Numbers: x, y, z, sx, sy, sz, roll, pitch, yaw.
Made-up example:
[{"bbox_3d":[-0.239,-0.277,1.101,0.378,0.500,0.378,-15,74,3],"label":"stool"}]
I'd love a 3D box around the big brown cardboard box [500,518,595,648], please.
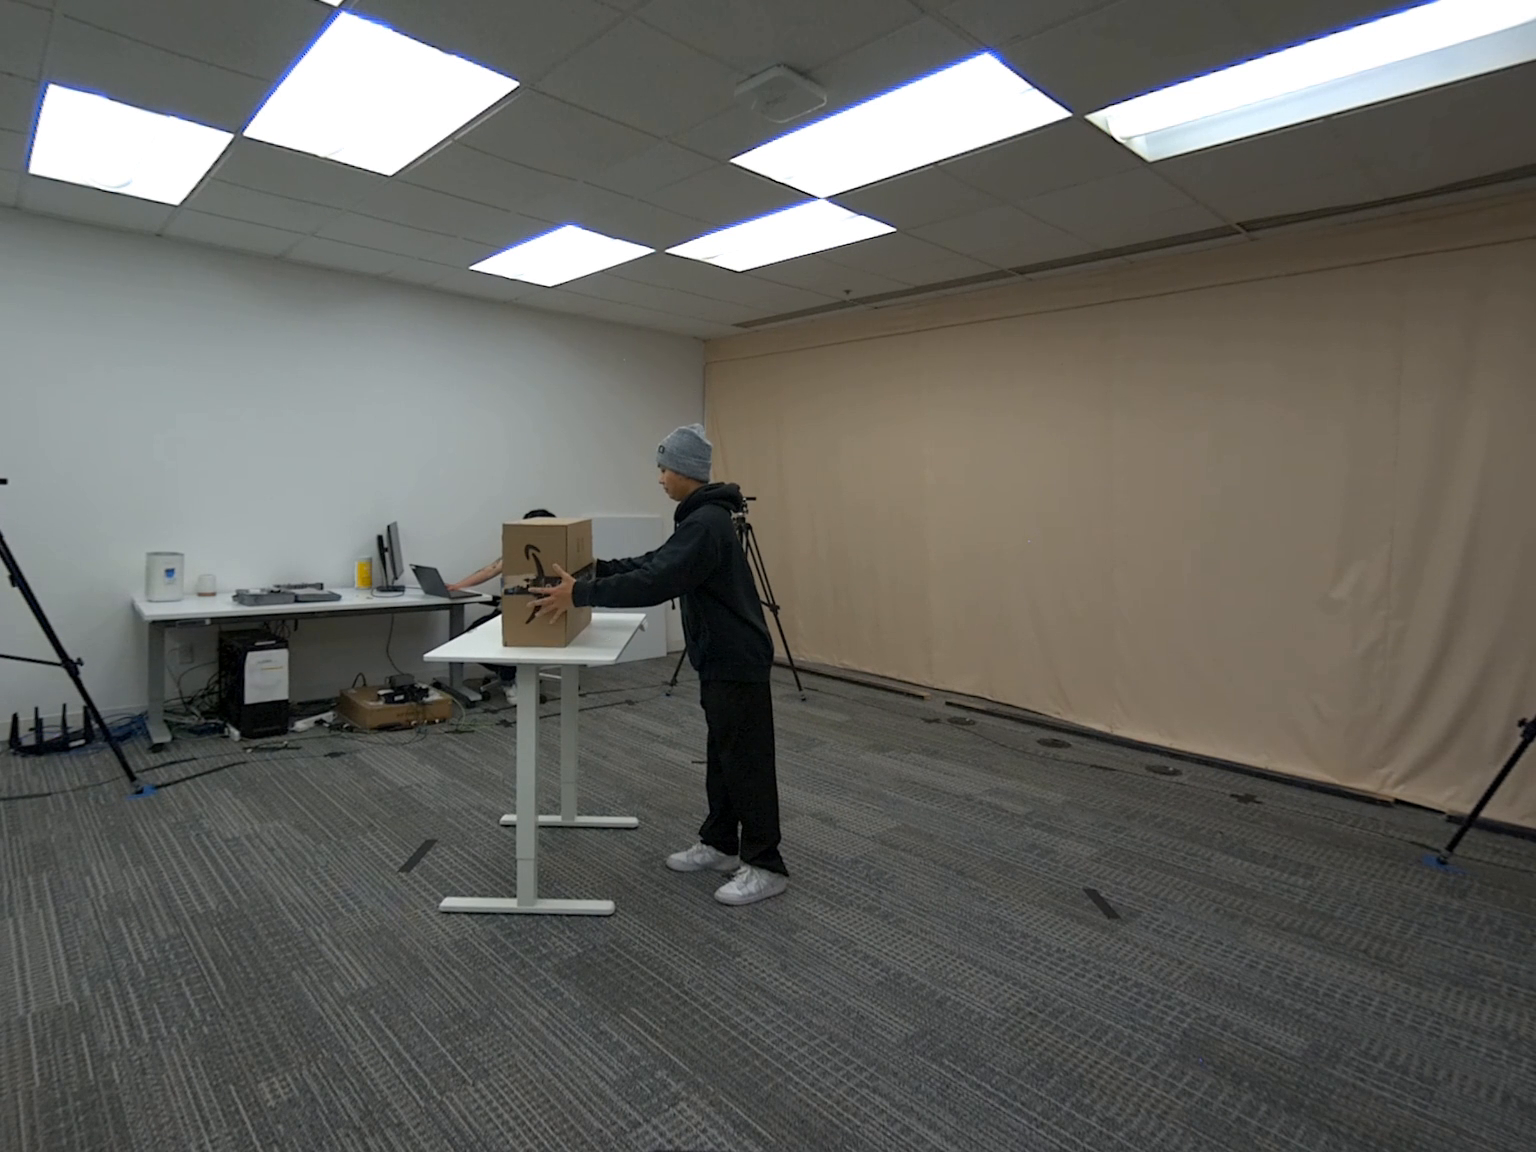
[{"bbox_3d":[-0.796,0.004,3.082,0.233,0.416,0.592,1,5,-4],"label":"big brown cardboard box"}]
